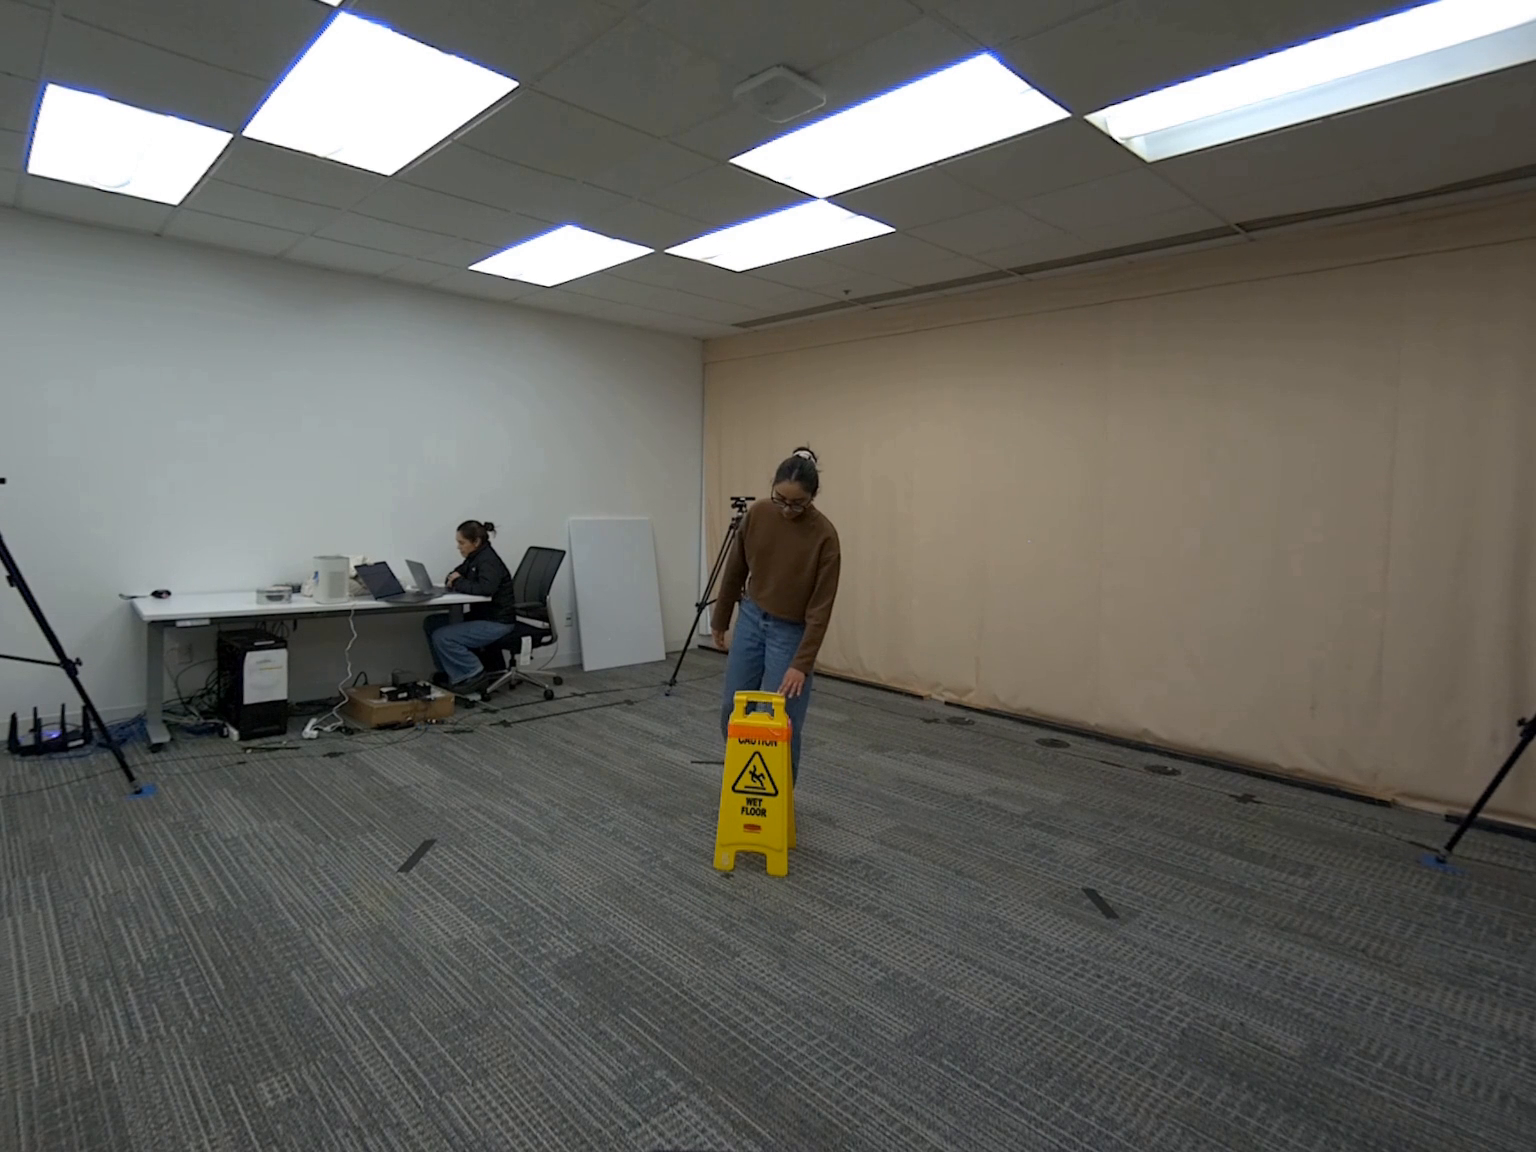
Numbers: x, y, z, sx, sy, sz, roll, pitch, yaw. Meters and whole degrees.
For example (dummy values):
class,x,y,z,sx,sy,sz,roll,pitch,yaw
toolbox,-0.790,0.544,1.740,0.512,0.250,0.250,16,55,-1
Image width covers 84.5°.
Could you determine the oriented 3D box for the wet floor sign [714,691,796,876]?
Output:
class,x,y,z,sx,sy,sz,roll,pitch,yaw
wet floor sign,-0.057,0.779,3.259,0.285,0.645,0.288,1,3,11
